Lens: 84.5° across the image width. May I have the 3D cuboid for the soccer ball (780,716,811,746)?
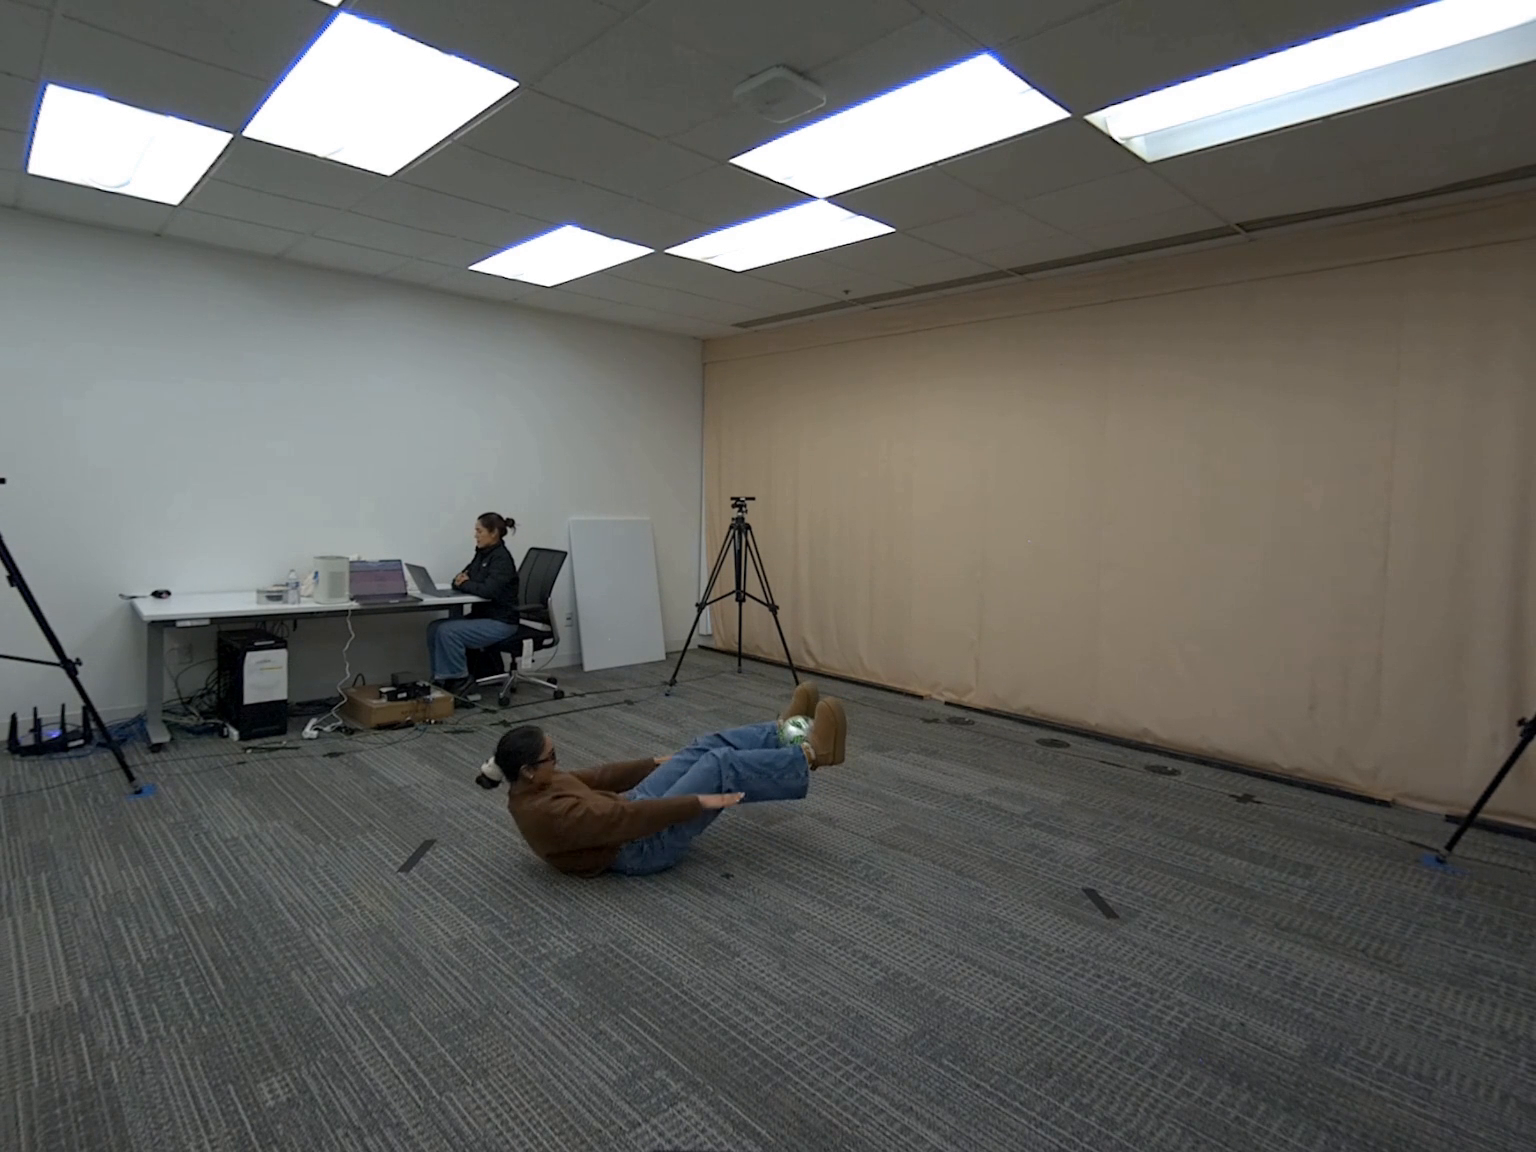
[{"bbox_3d":[0.115,0.678,3.471,0.187,0.187,0.188,1,4,-1],"label":"soccer ball"}]
